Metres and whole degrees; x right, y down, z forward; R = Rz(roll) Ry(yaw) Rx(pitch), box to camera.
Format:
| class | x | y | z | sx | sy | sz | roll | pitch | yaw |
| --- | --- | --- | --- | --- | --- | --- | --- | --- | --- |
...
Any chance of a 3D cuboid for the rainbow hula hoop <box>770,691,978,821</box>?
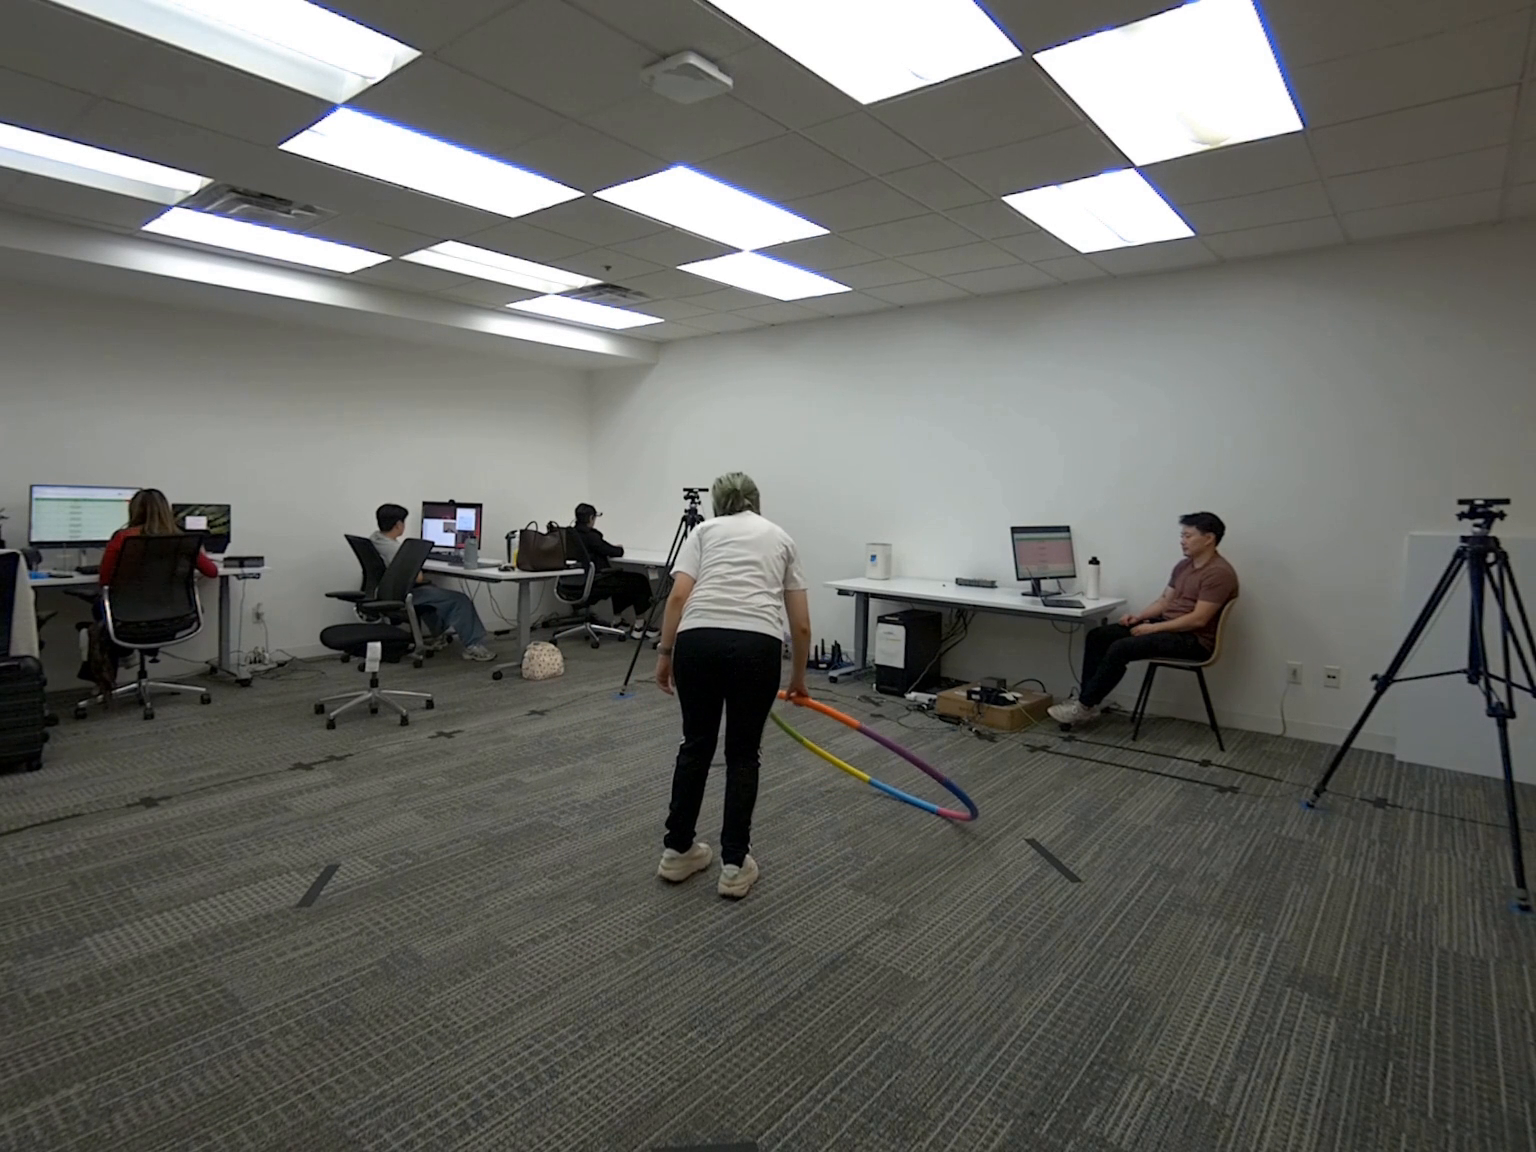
| class | x | y | z | sx | sy | sz | roll | pitch | yaw |
| --- | --- | --- | --- | --- | --- | --- | --- | --- | --- |
| rainbow hula hoop | 0.384 | 0.736 | 3.520 | 0.992 | 0.036 | 0.962 | 28 | -18 | 8 |
